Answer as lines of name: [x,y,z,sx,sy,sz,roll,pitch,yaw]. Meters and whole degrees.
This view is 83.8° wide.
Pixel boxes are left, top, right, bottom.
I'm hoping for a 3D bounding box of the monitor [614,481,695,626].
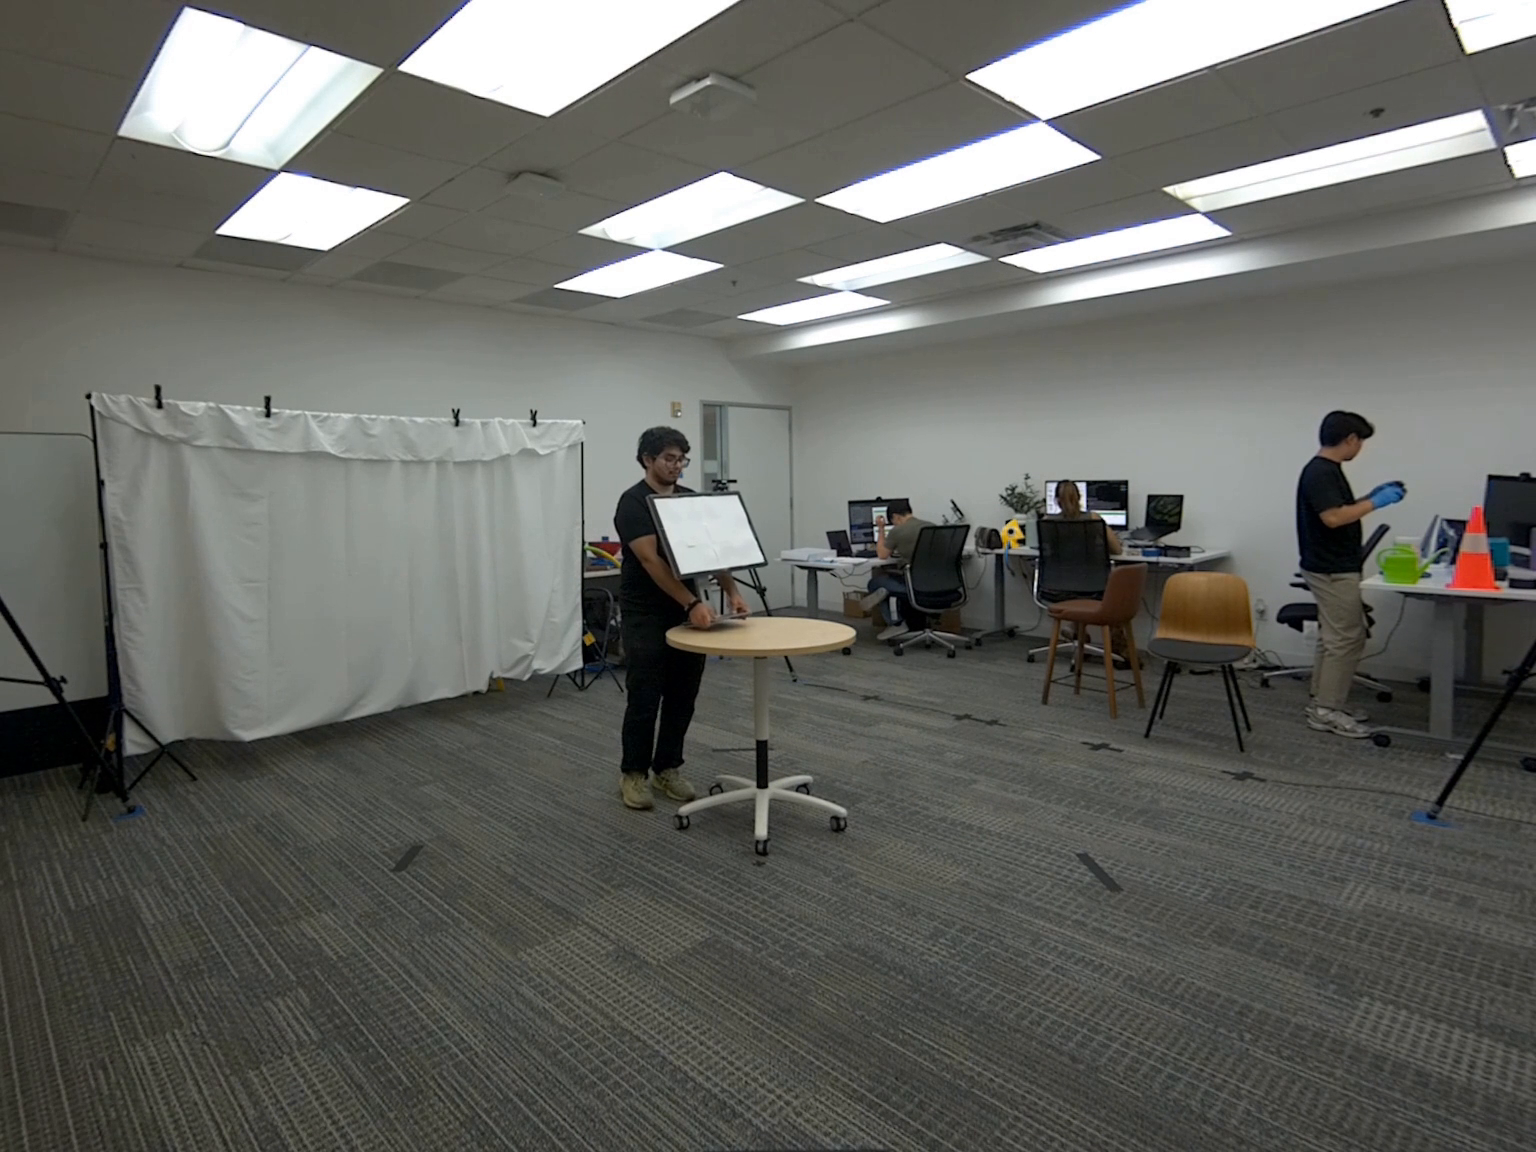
monitor: [-0.276,-0.075,3.618,0.213,0.560,0.551,-24,-11,42]
